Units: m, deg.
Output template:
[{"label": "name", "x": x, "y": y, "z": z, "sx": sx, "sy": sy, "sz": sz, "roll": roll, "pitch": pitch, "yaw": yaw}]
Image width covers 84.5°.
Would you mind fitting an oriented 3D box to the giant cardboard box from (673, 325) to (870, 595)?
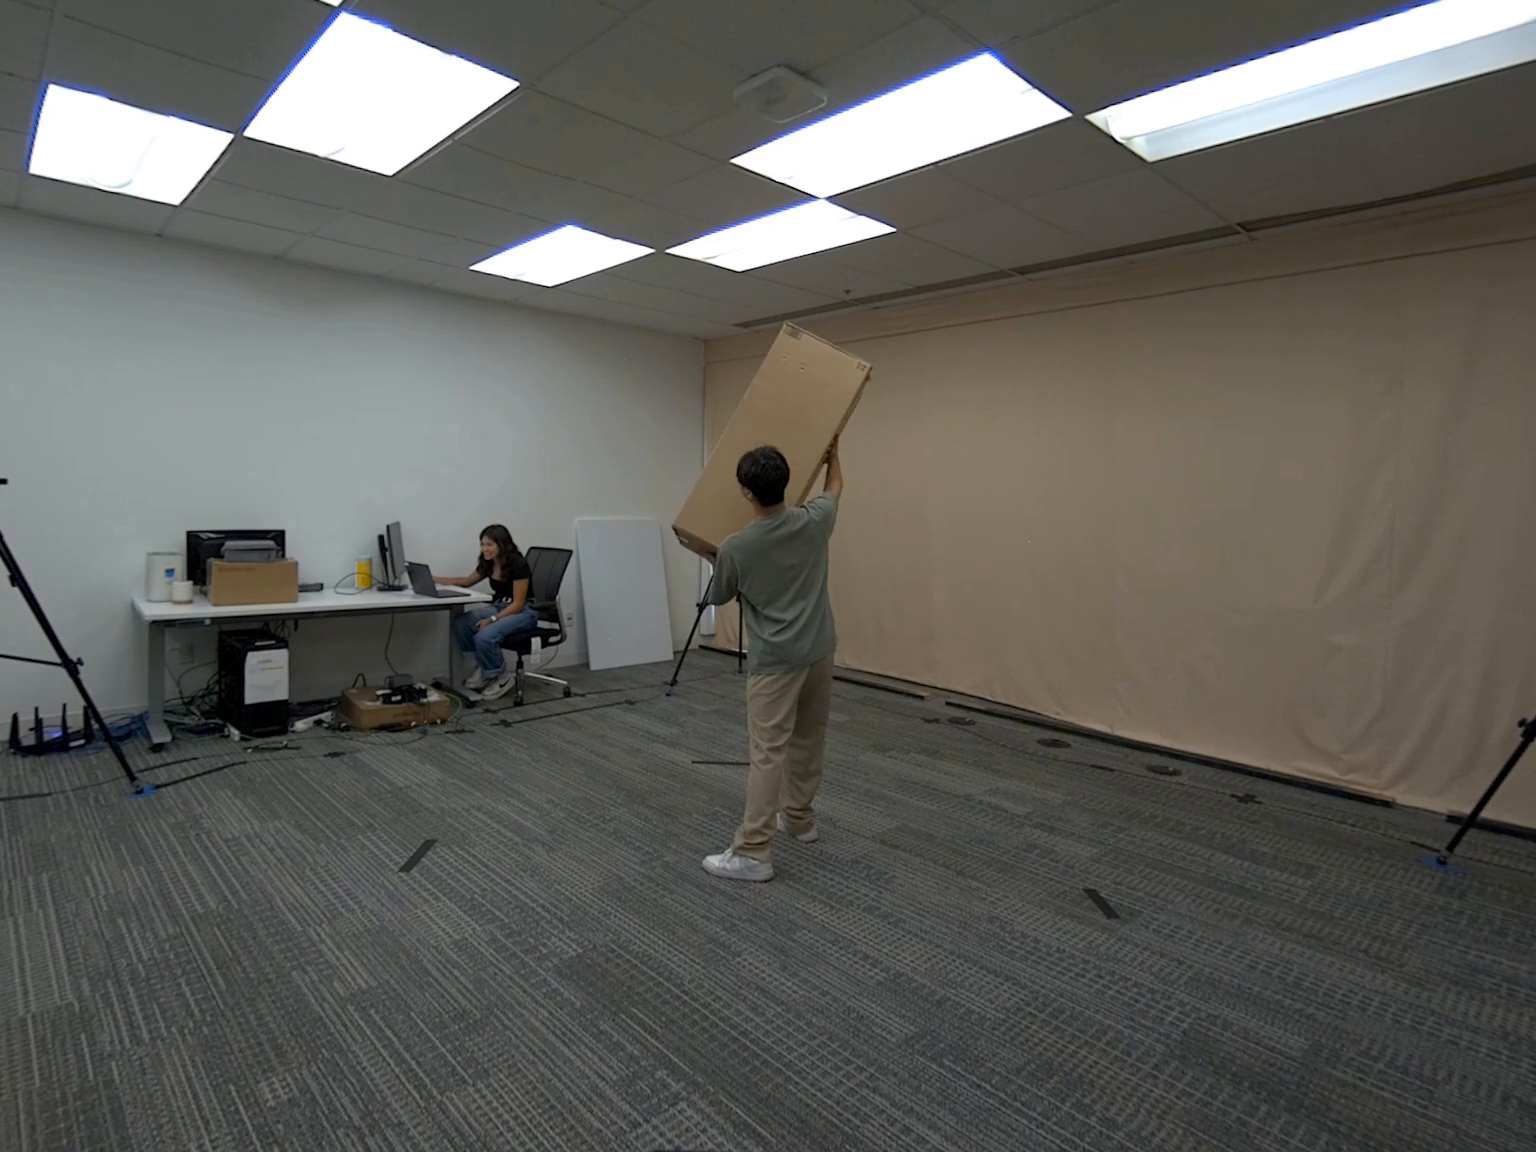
[{"label": "giant cardboard box", "x": -0.006, "y": -0.527, "z": 3.826, "sx": 0.428, "sy": 1.028, "sz": 0.574, "roll": 28, "pitch": -8, "yaw": 3}]
